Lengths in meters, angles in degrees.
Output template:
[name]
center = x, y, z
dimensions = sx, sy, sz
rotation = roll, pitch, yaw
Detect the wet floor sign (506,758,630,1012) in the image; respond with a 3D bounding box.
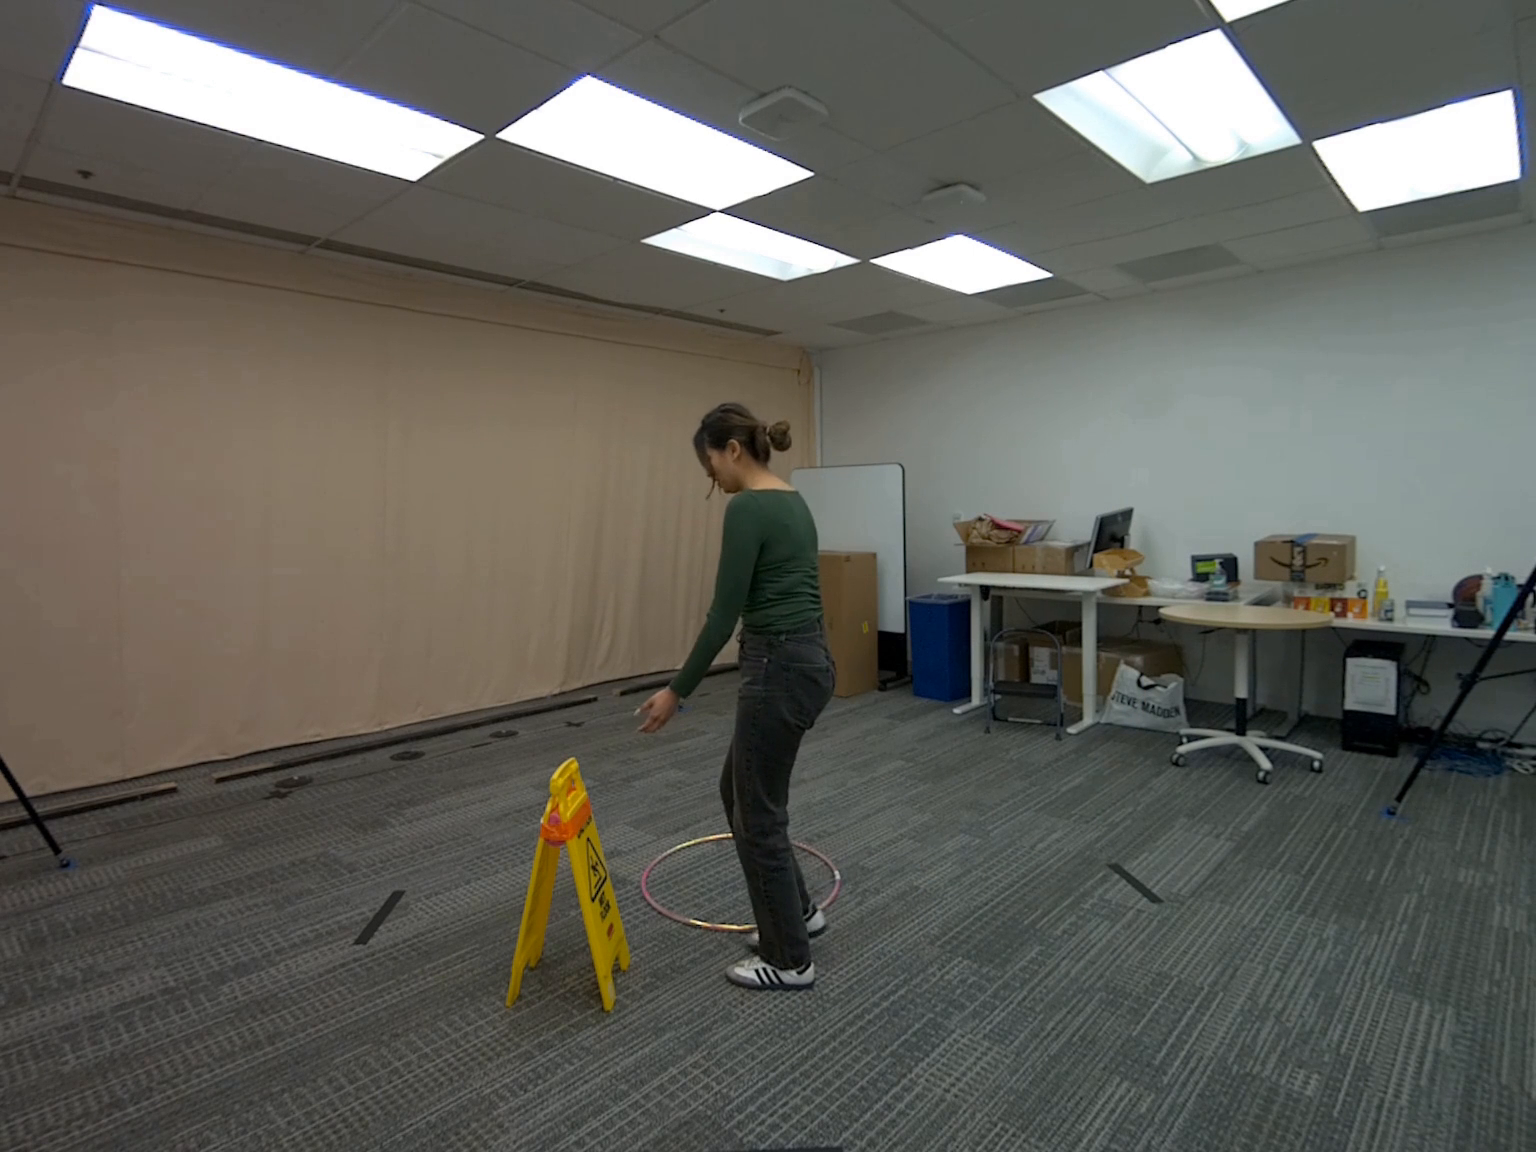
[wet floor sign]
center = -0.583, 0.880, 2.455
dimensions = 0.292, 0.645, 0.281
rotation = -1, 3, 5
